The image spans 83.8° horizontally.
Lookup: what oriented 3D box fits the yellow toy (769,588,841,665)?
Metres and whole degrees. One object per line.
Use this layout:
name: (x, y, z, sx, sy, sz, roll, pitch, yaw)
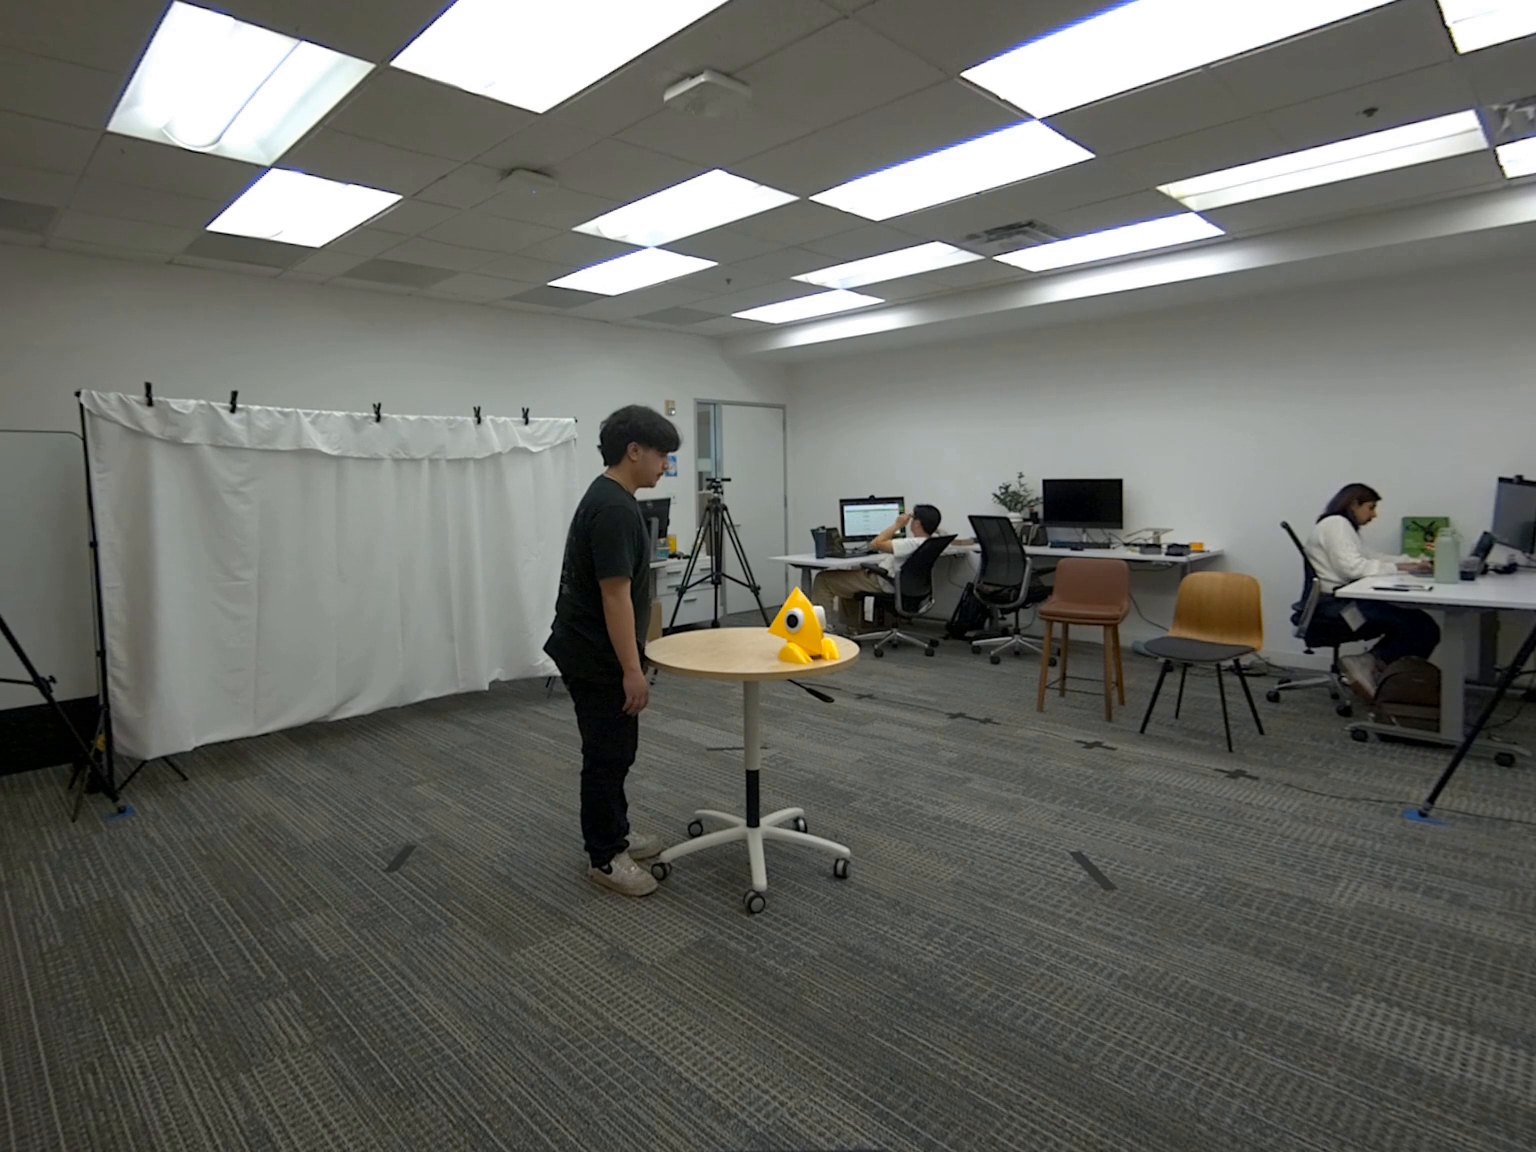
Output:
yellow toy: (0.130, 0.158, 2.879, 0.200, 0.230, 0.198, -3, 5, -29)
